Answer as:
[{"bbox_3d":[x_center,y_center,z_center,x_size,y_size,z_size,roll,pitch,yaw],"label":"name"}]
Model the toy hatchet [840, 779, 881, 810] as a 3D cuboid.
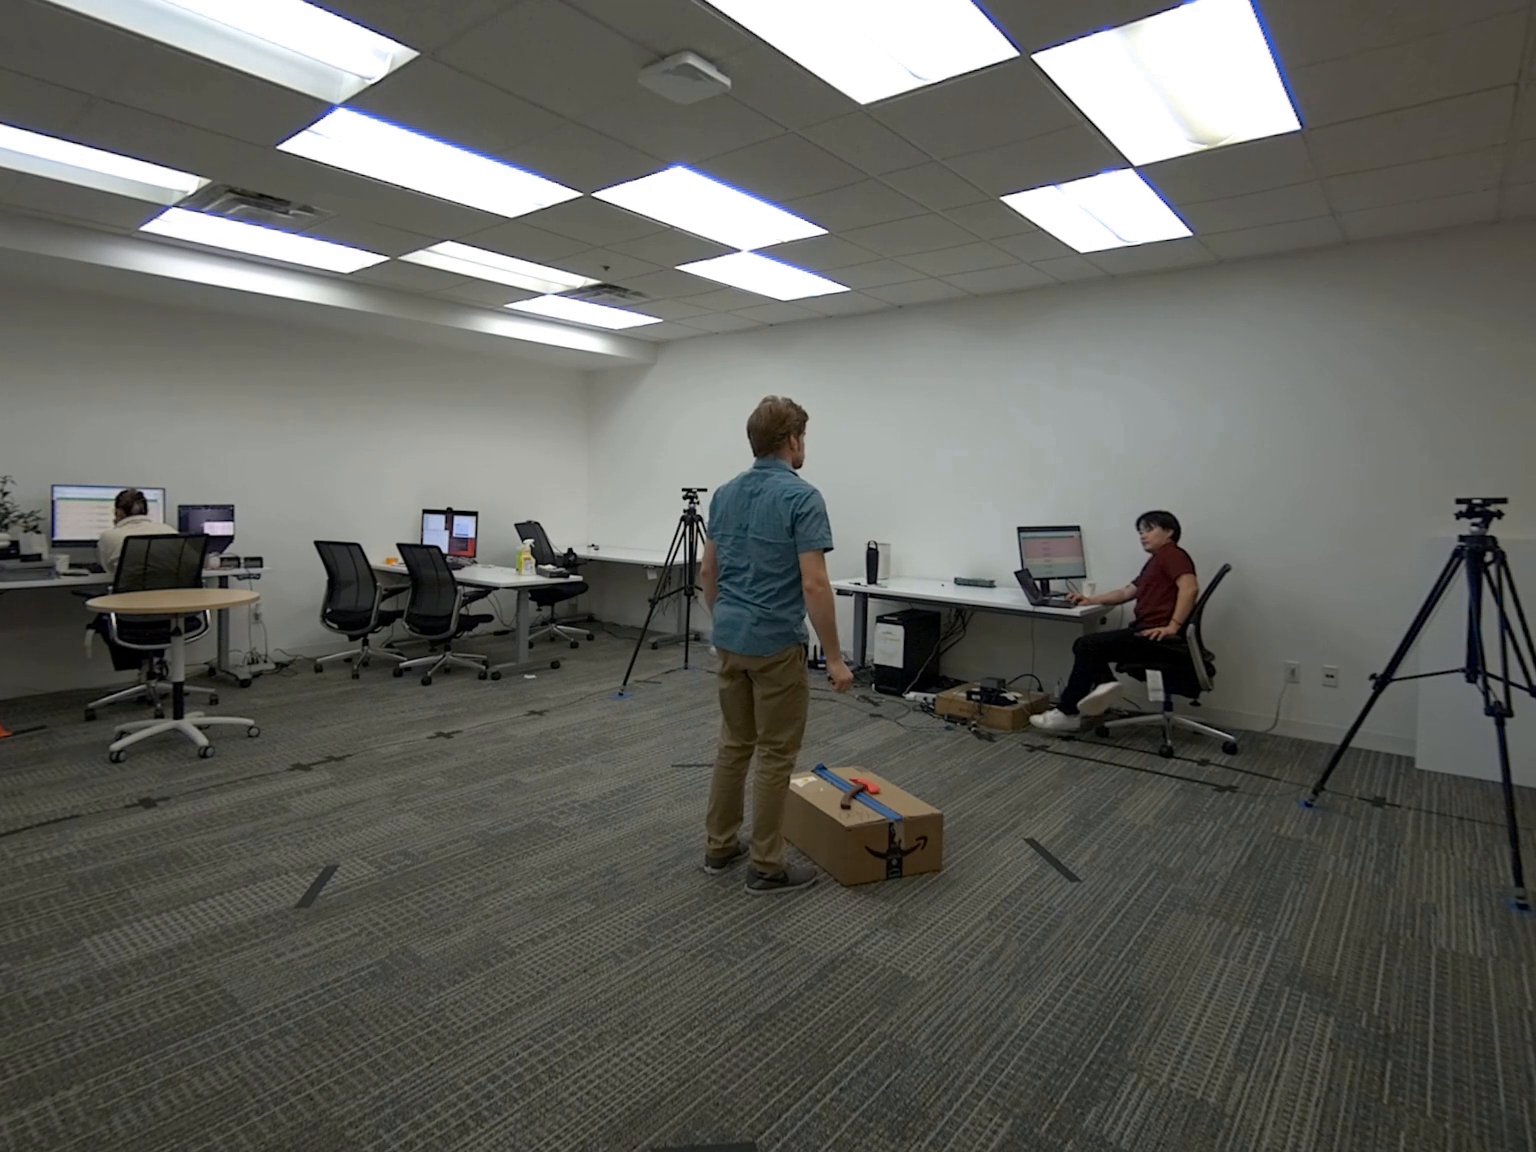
[{"bbox_3d":[0.345,0.832,3.261,0.133,0.029,0.267,8,10,14],"label":"toy hatchet"}]
